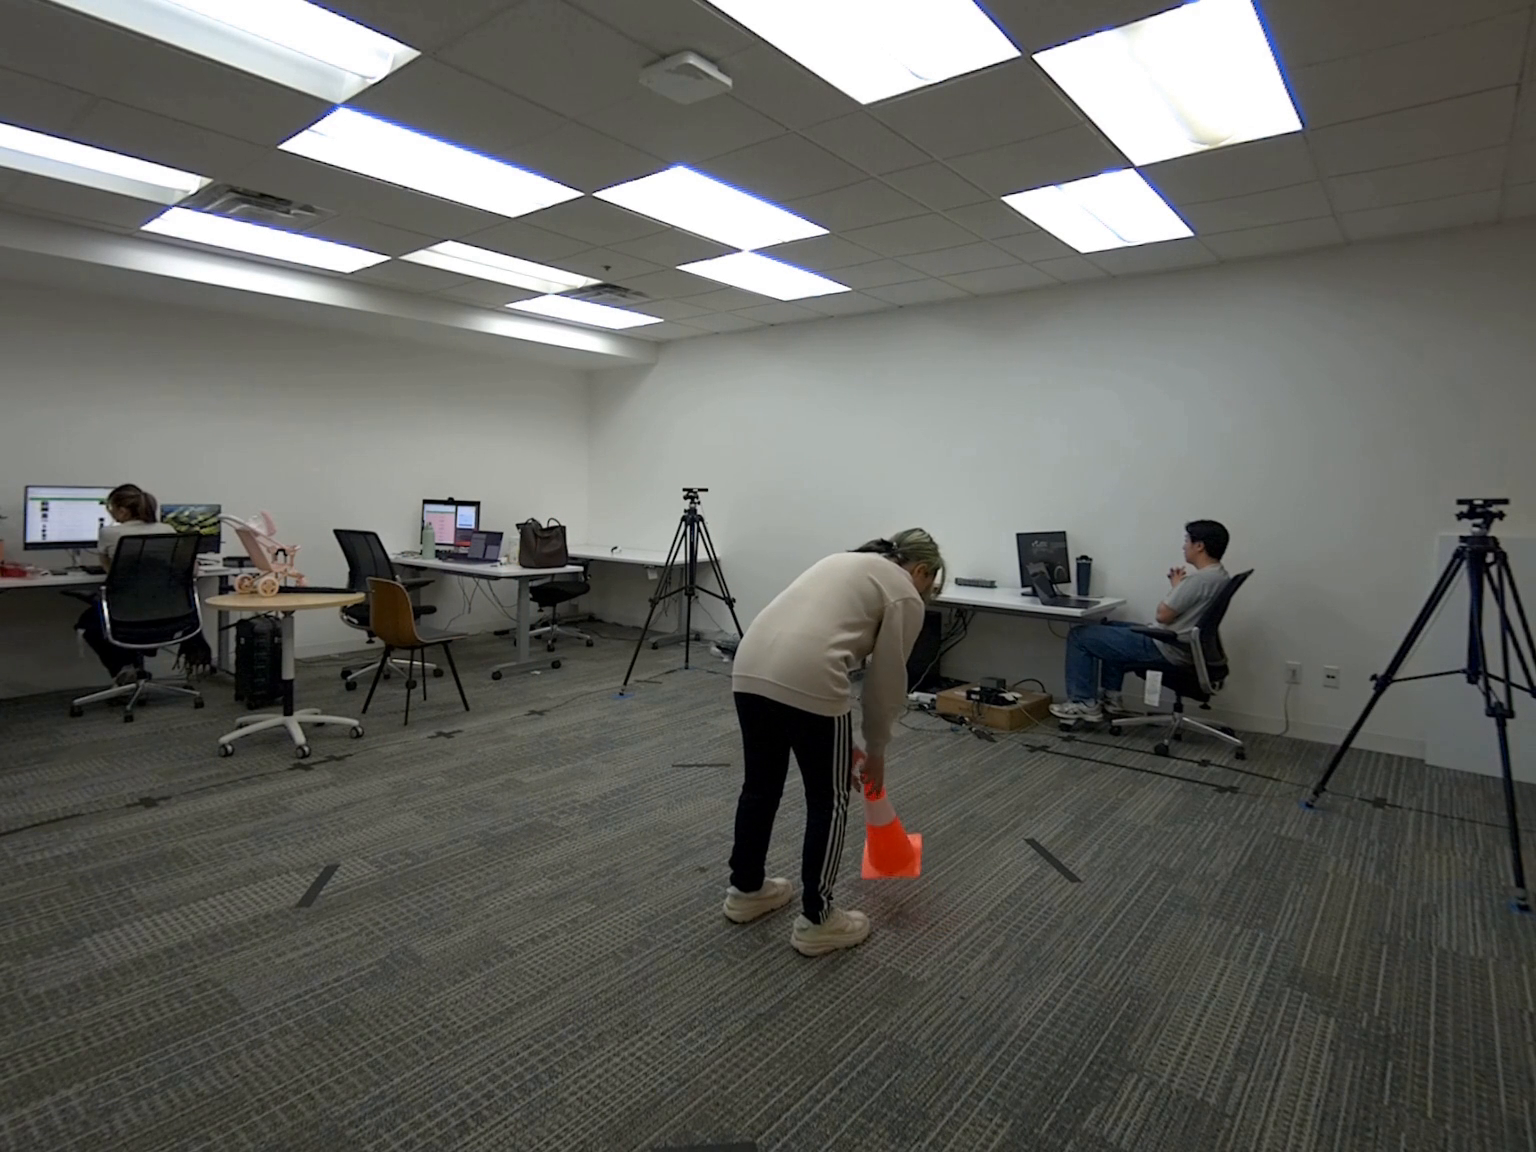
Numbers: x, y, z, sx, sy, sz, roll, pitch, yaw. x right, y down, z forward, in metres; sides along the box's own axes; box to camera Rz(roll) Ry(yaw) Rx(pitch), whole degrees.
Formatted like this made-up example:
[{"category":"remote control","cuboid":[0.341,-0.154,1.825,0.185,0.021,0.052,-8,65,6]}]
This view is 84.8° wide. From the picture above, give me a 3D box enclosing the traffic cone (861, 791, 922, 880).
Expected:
[{"category":"traffic cone","cuboid":[0.370,0.786,2.838,0.207,0.376,0.205,-11,18,14]}]
